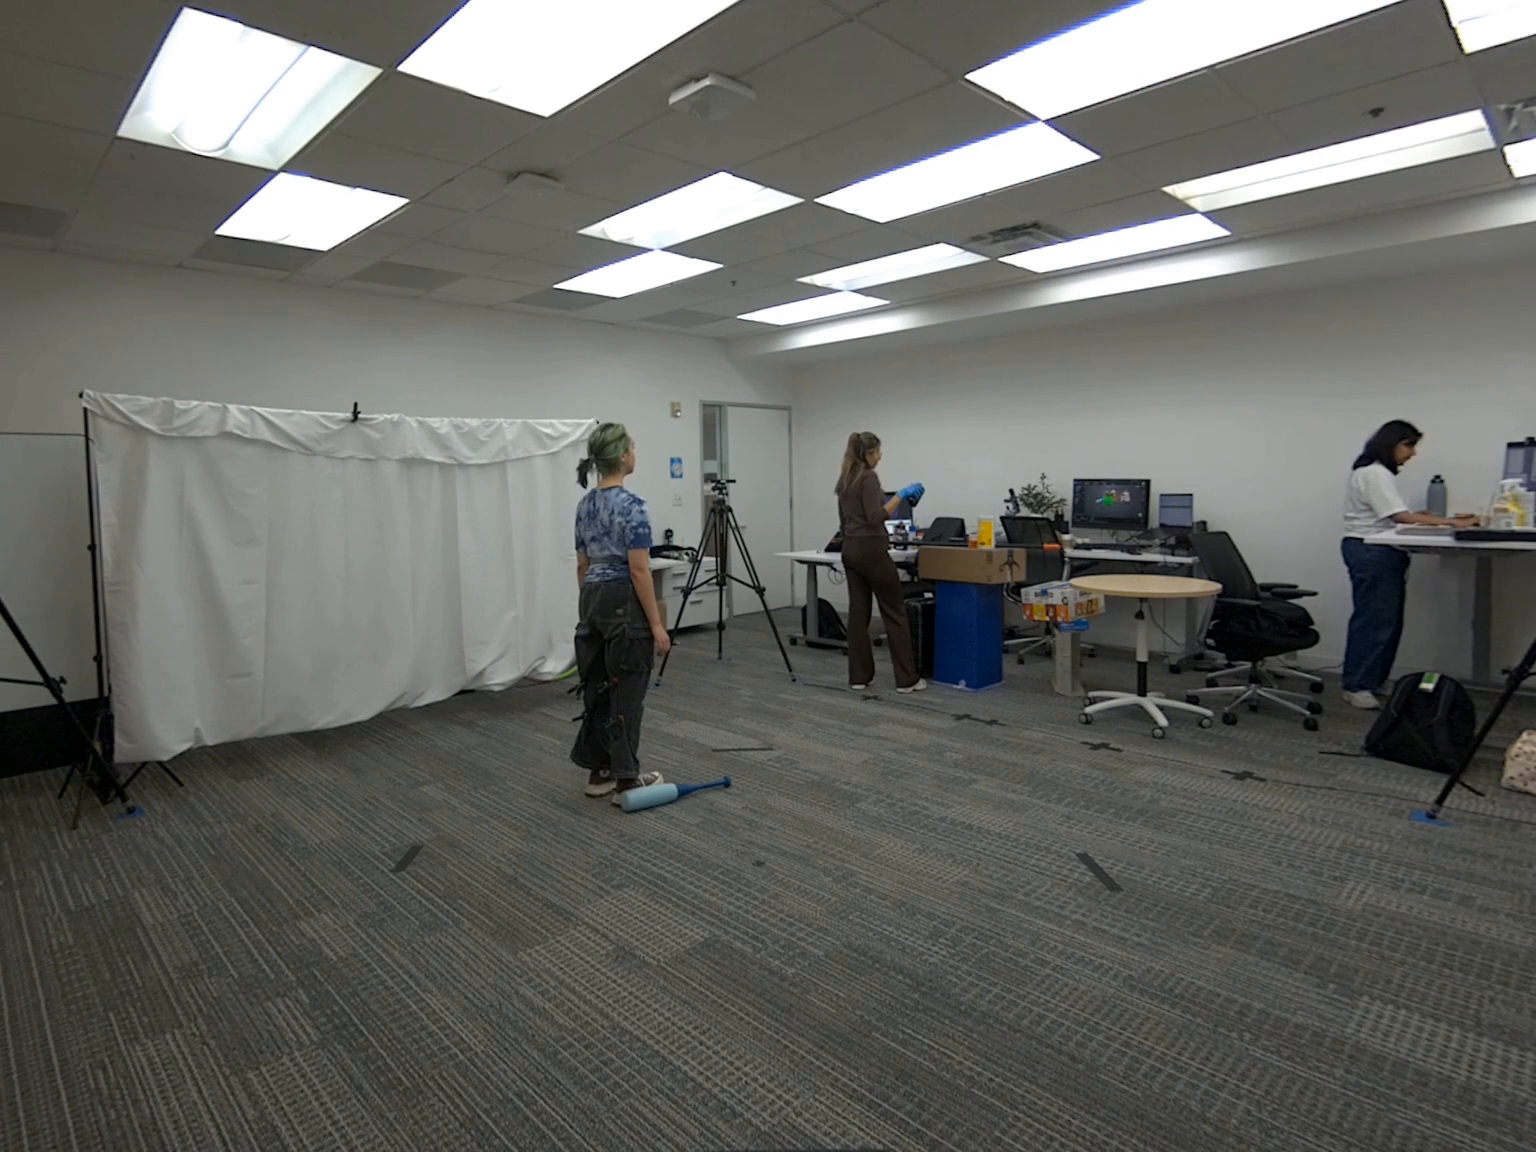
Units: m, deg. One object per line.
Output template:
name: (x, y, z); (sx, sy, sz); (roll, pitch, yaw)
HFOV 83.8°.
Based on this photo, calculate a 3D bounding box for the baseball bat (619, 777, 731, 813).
baseball bat: (-0.401, 0.948, 3.758); (0.528, 0.089, 0.092); (-2, 4, -36)
